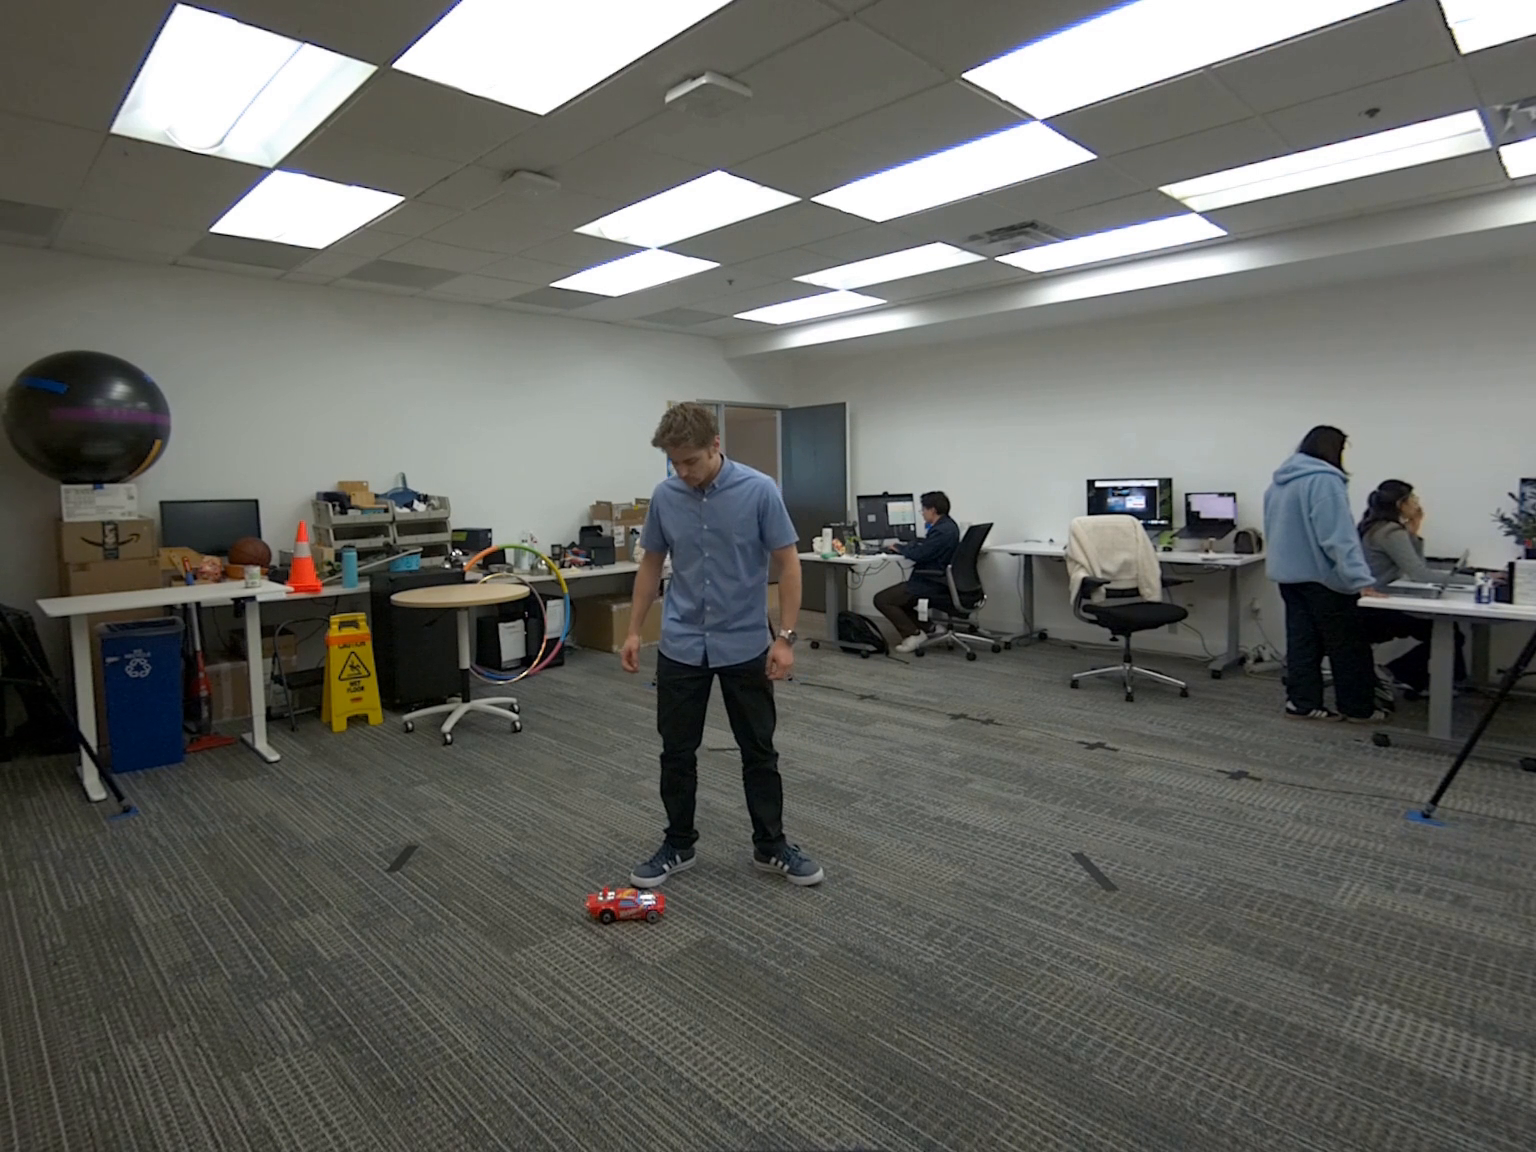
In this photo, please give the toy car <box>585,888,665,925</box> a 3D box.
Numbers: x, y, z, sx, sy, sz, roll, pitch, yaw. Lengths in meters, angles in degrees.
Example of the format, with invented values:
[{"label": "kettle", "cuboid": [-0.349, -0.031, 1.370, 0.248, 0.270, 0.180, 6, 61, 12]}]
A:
[{"label": "toy car", "cuboid": [-0.461, 1.061, 2.753, 0.254, 0.083, 0.131, 10, 4, -2]}]
